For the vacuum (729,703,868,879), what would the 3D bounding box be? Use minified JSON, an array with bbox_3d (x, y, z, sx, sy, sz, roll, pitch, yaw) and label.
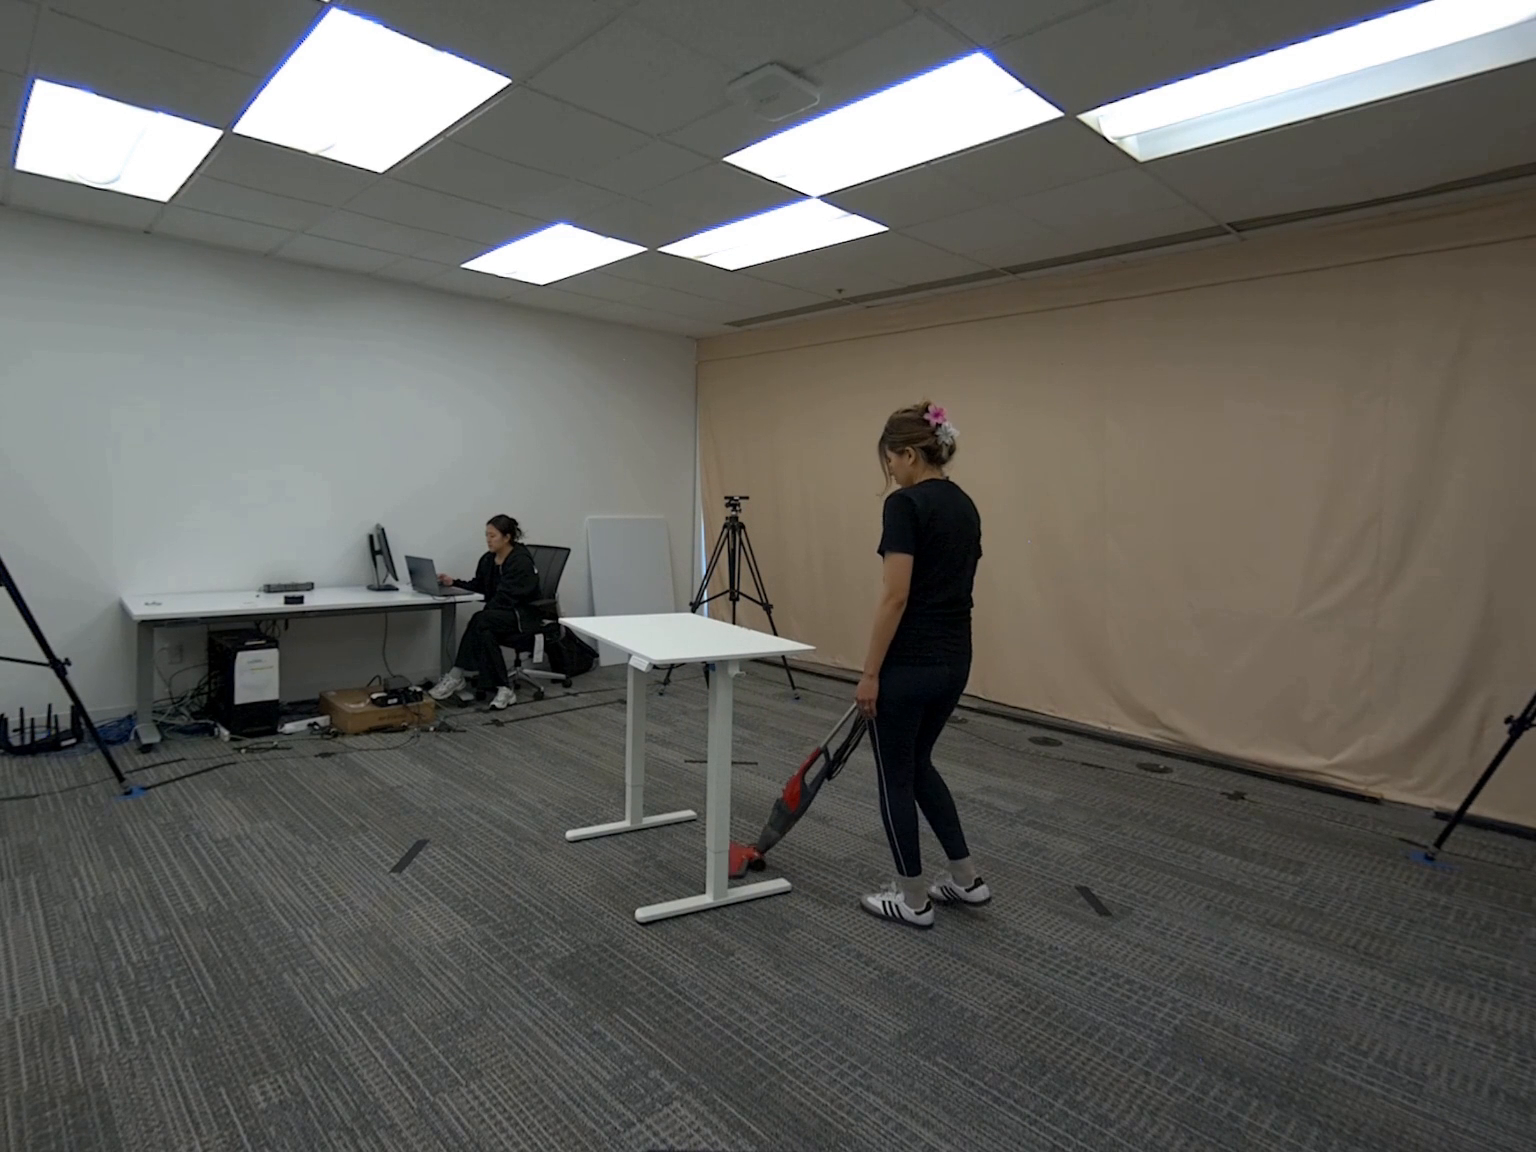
[{"bbox_3d":[0.230,0.674,3.165,0.142,1.049,0.256,39,3,-13],"label":"vacuum"}]
